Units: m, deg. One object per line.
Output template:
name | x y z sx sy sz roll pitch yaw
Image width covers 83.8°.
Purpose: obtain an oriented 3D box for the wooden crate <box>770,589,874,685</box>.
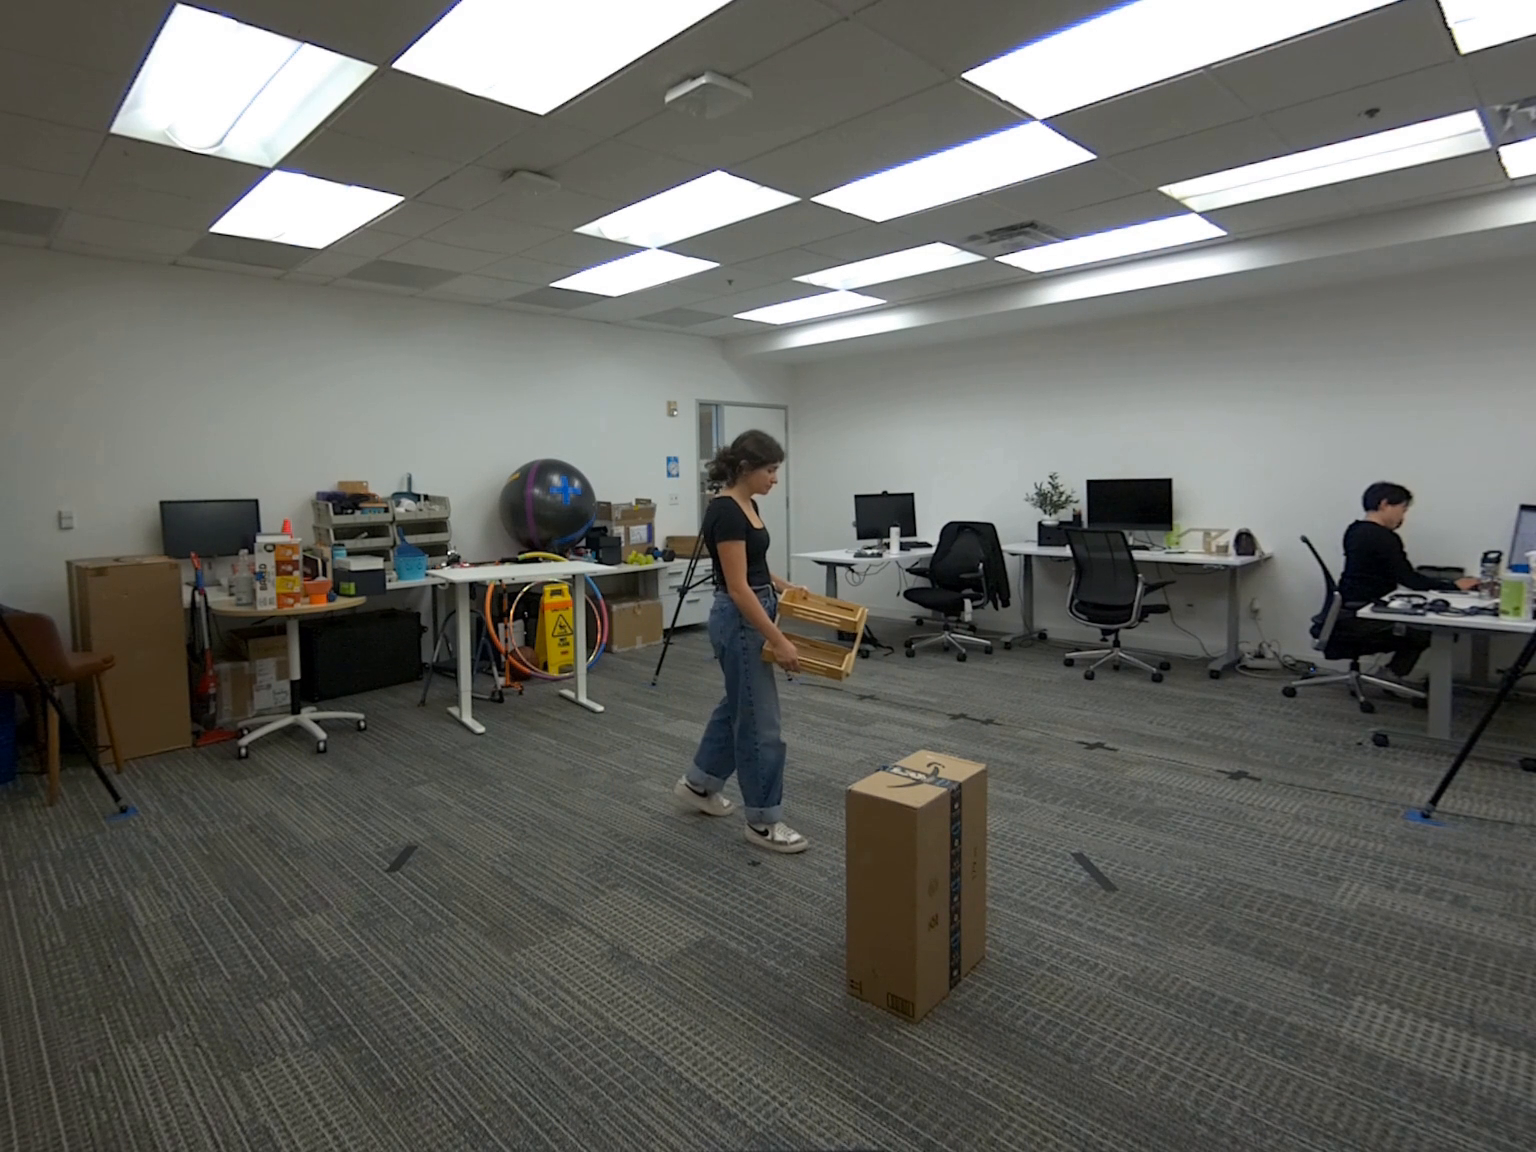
wooden crate | 0.186 0.210 3.163 0.330 0.273 0.297 13 1 13
